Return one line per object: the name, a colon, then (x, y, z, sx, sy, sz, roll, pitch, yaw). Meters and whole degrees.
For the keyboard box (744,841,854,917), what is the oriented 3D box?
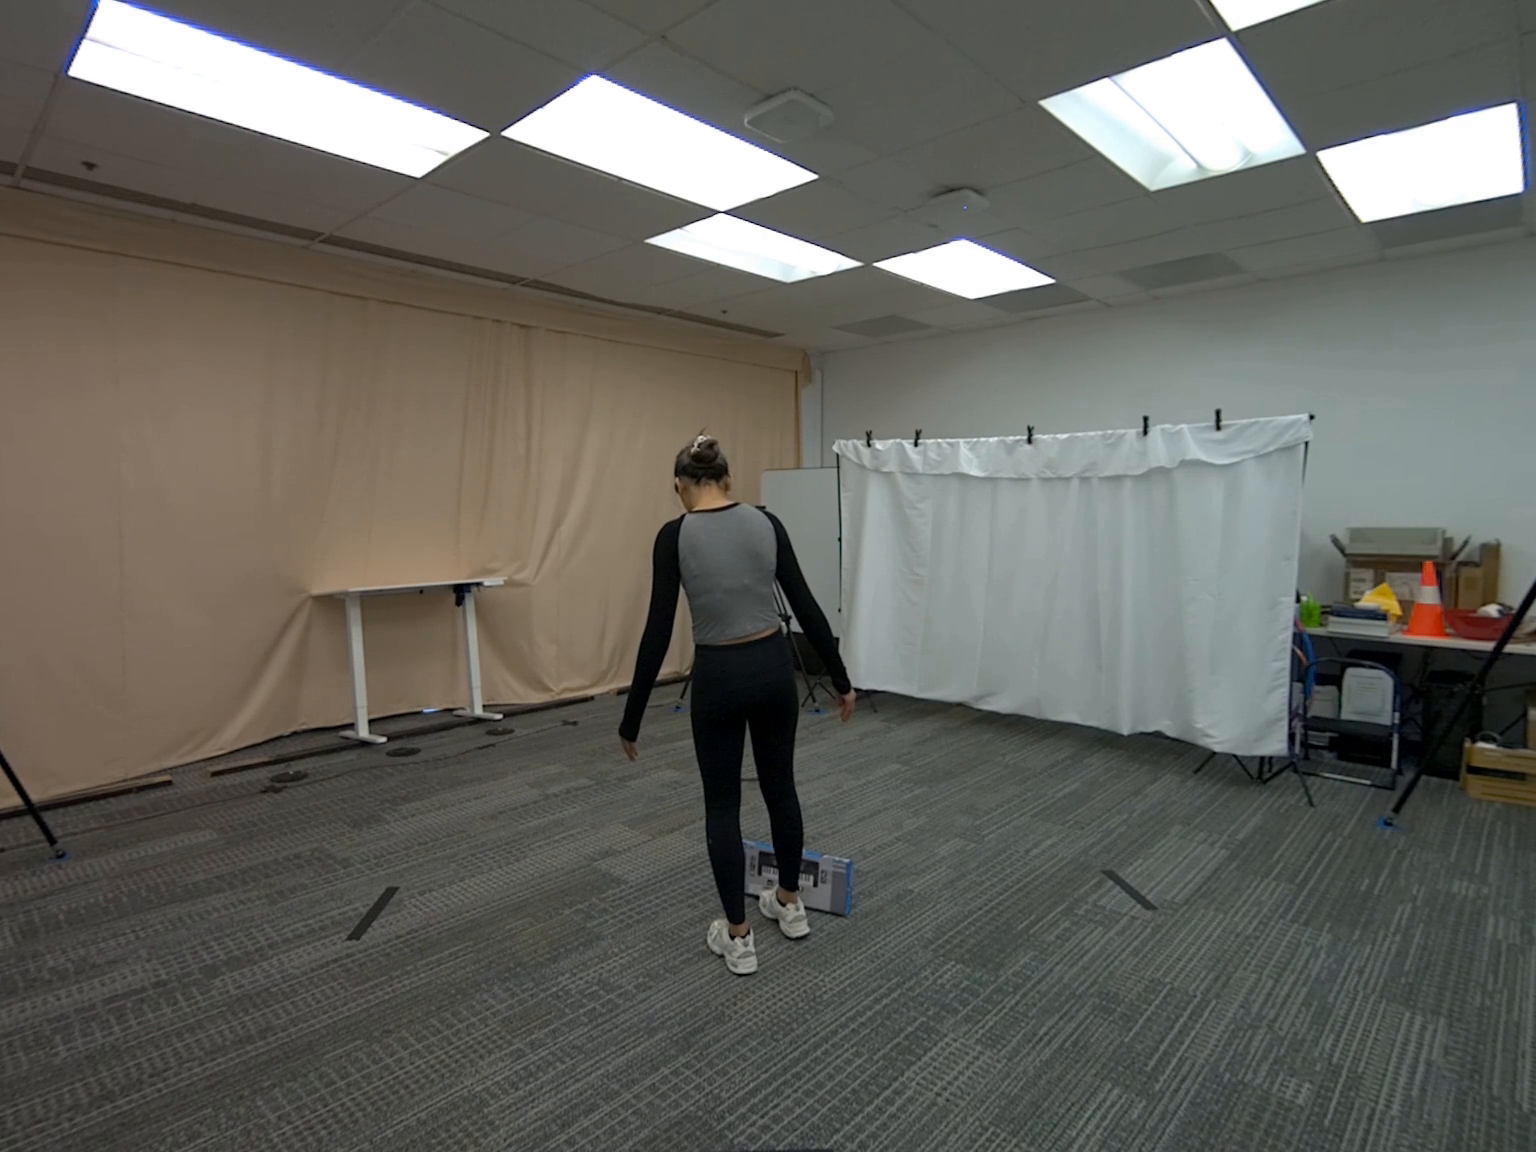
keyboard box: (0.079, 1.056, 2.967, 0.448, 0.176, 0.057, 3, -7, 25)
